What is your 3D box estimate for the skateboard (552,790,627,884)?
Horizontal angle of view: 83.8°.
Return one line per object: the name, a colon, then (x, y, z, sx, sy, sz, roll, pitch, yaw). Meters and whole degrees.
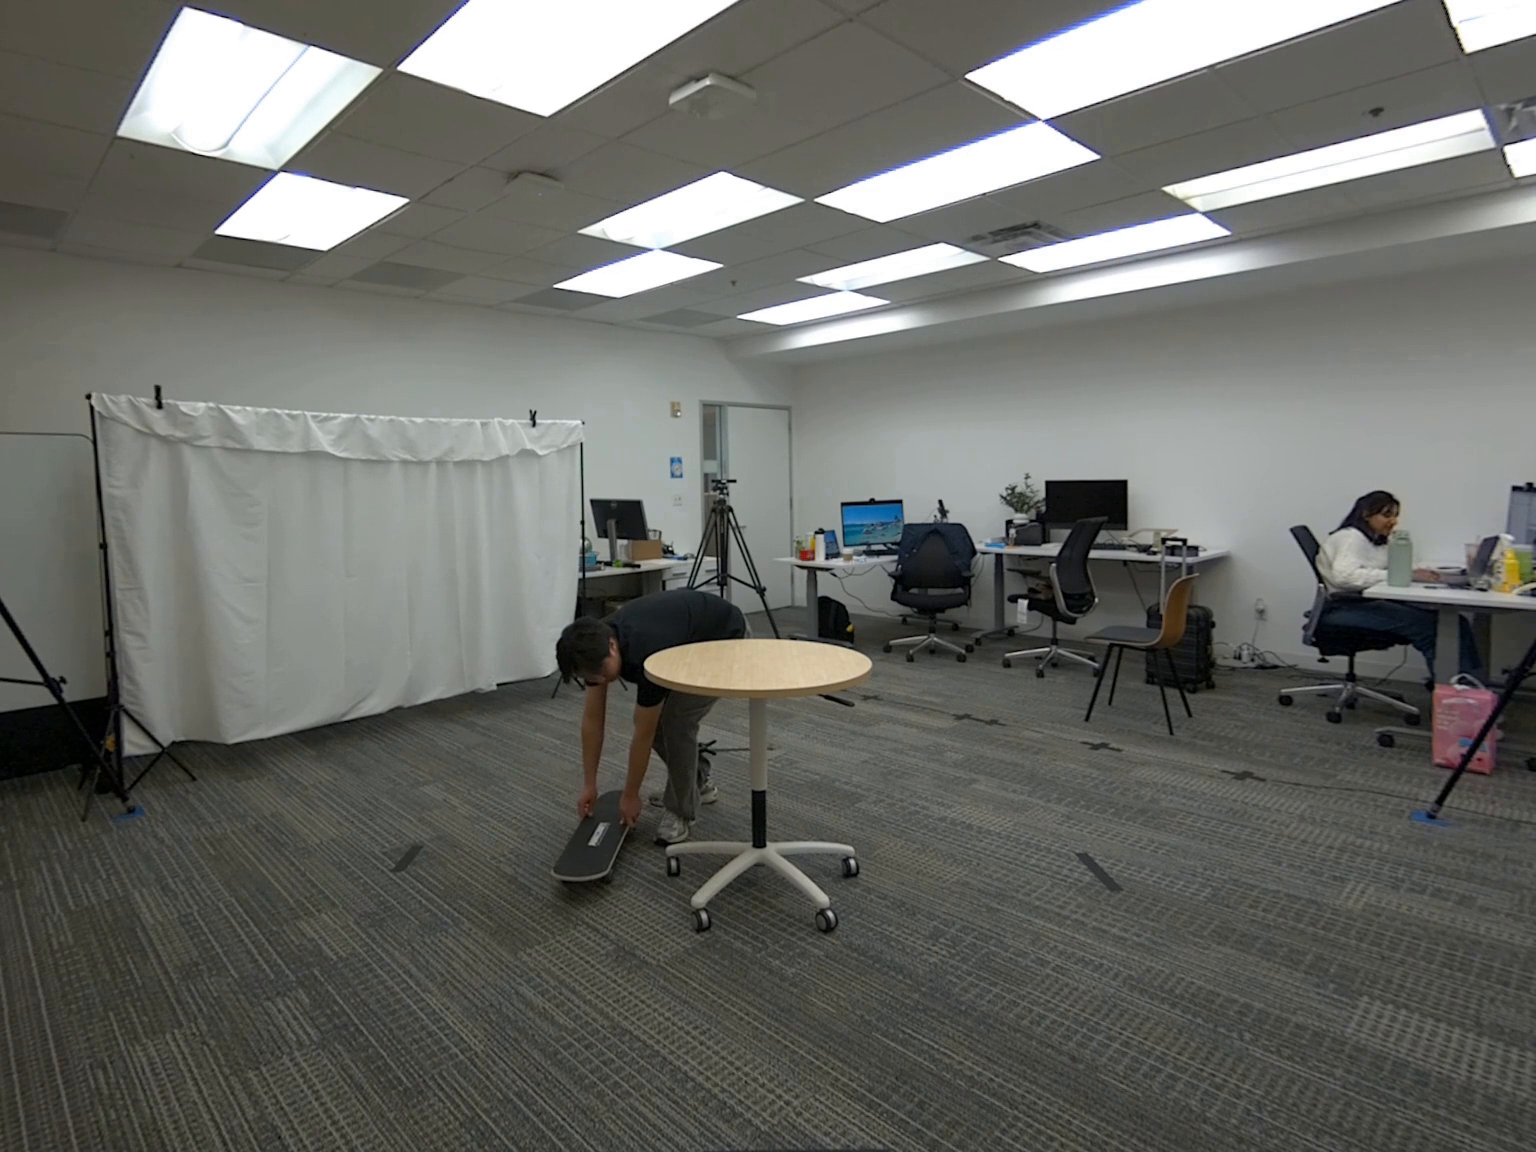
skateboard: (-0.623, 0.990, 3.188, 0.194, 0.110, 0.786, -1, 6, 2)
